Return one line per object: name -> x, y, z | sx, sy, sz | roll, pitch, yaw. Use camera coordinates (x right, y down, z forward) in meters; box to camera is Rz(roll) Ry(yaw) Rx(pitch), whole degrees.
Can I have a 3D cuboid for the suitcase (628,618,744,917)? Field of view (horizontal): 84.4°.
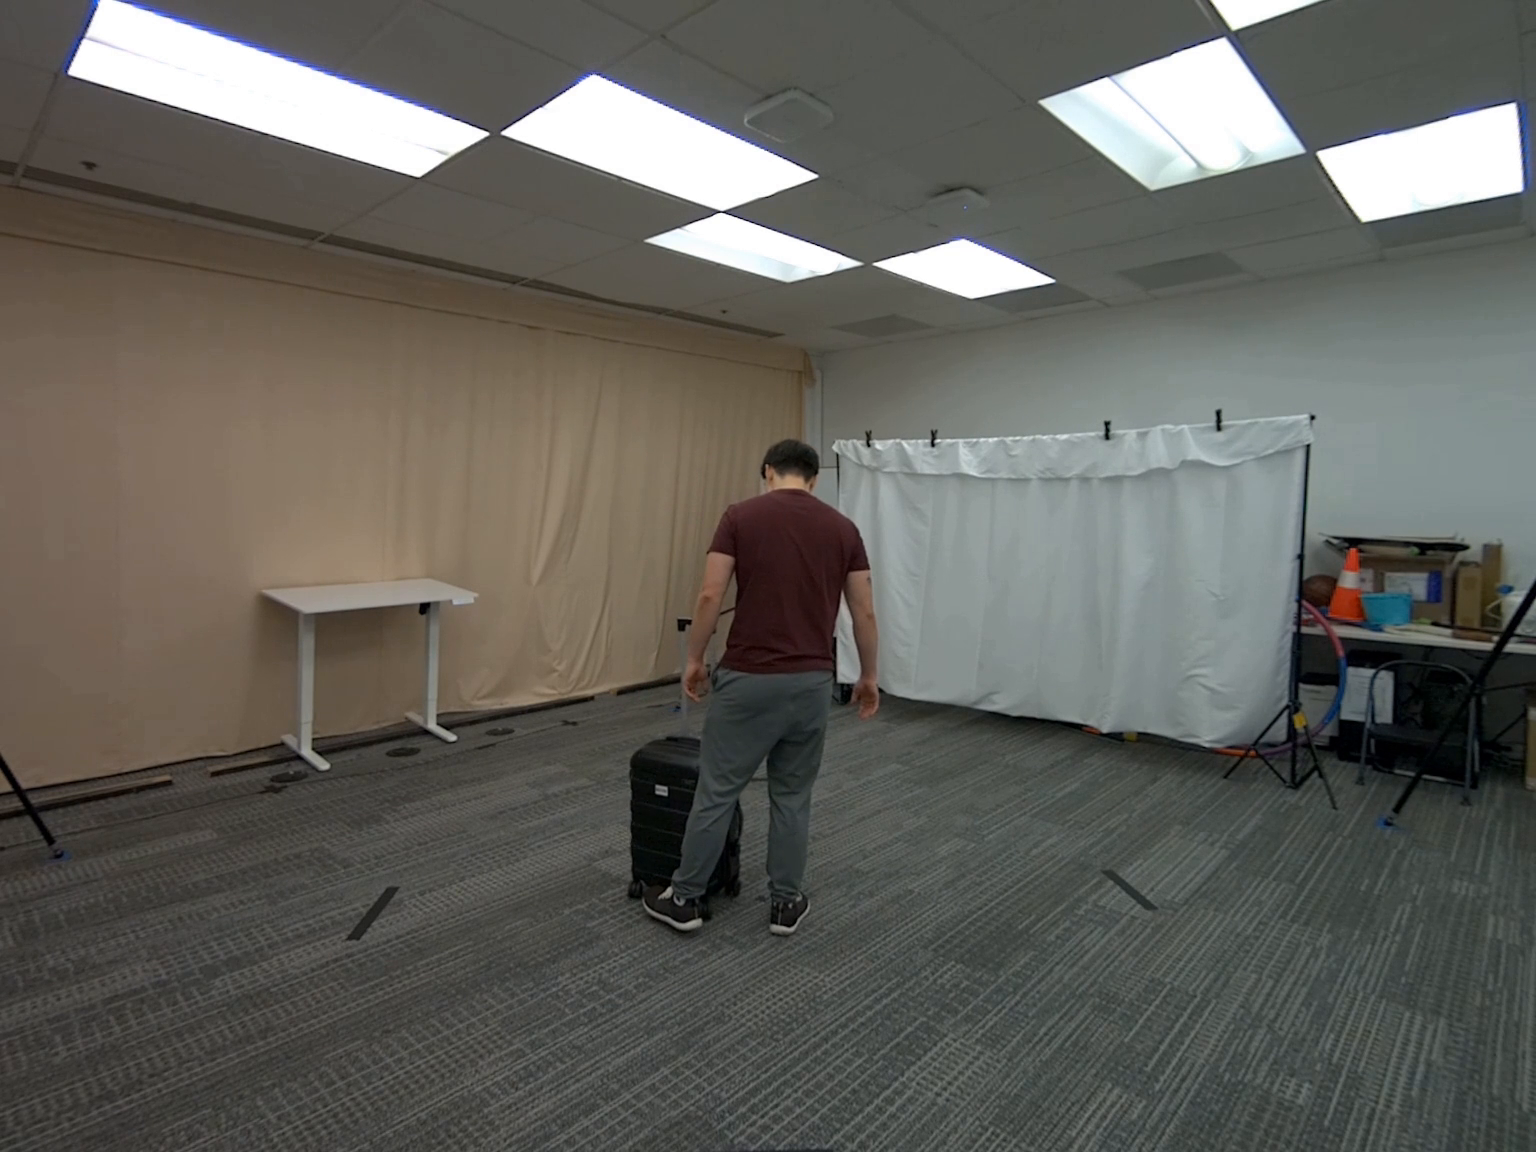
suitcase -> -0.302, 0.662, 3.003 | 0.395, 0.976, 0.250 | 0, 4, 31
